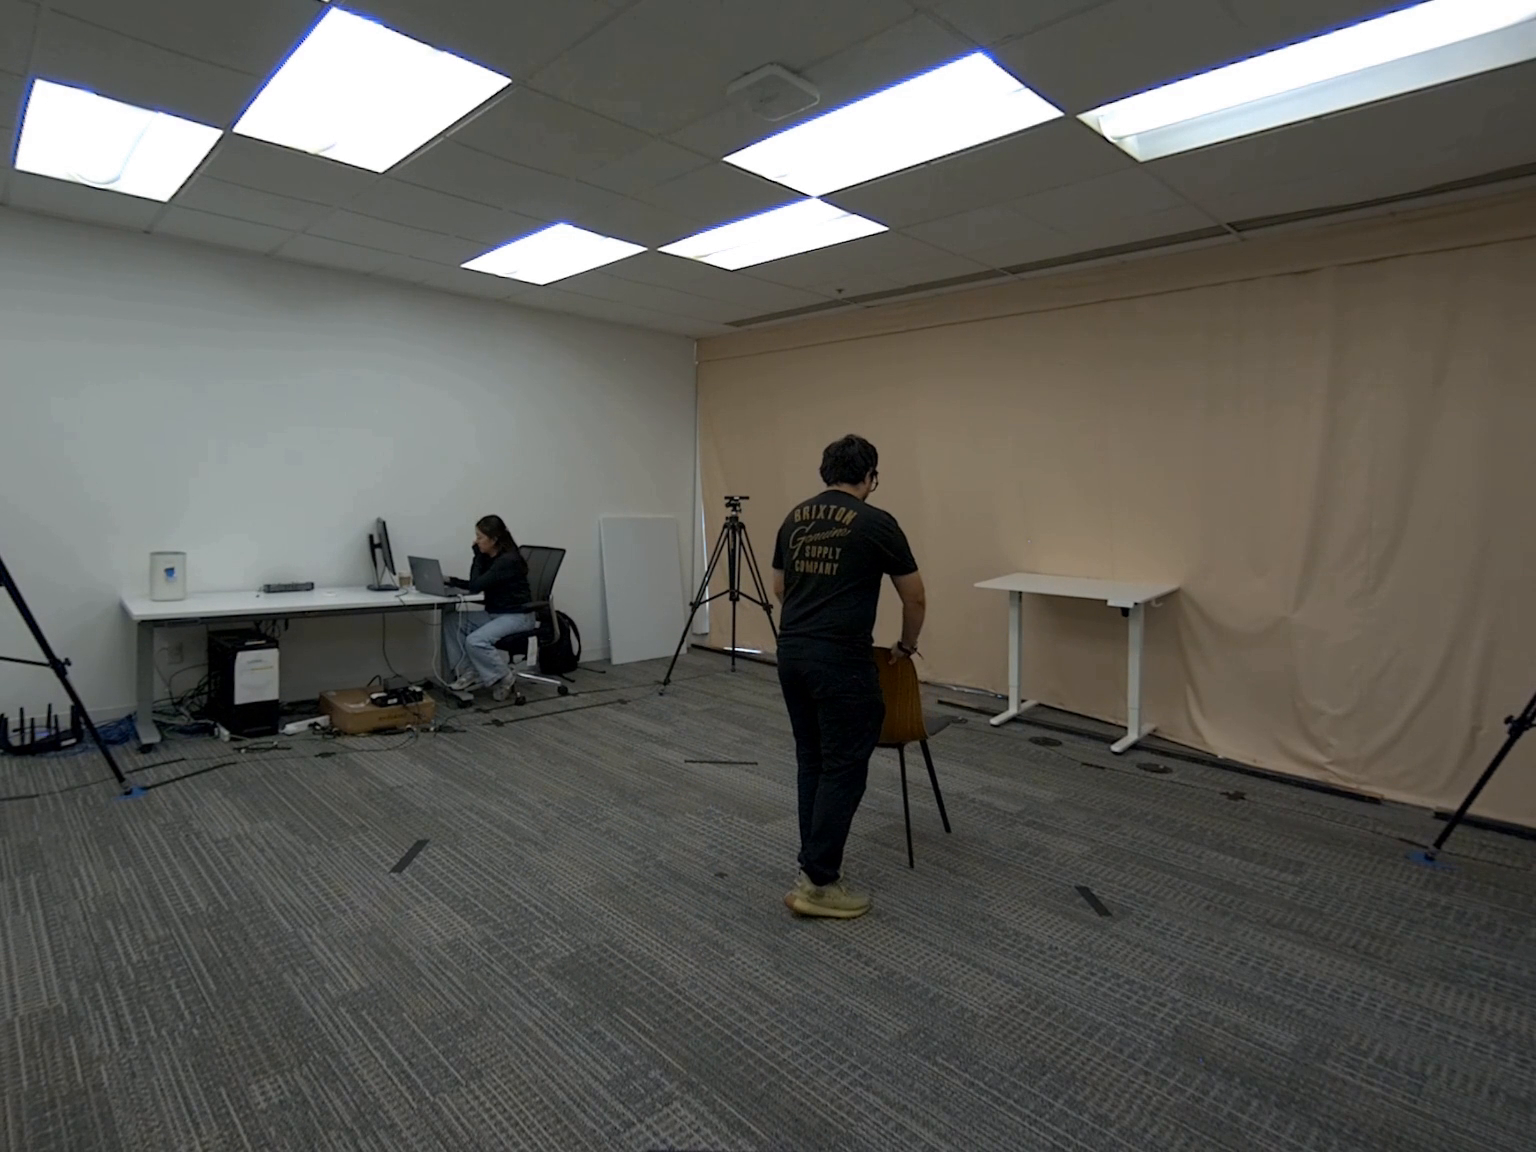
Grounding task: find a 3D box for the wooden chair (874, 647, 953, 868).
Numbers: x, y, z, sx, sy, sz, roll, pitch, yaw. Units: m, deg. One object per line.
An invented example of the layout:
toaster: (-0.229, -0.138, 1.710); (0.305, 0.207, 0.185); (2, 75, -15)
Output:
wooden chair: (0.467, 0.655, 3.480); (0.489, 0.873, 0.514); (3, 7, 31)
